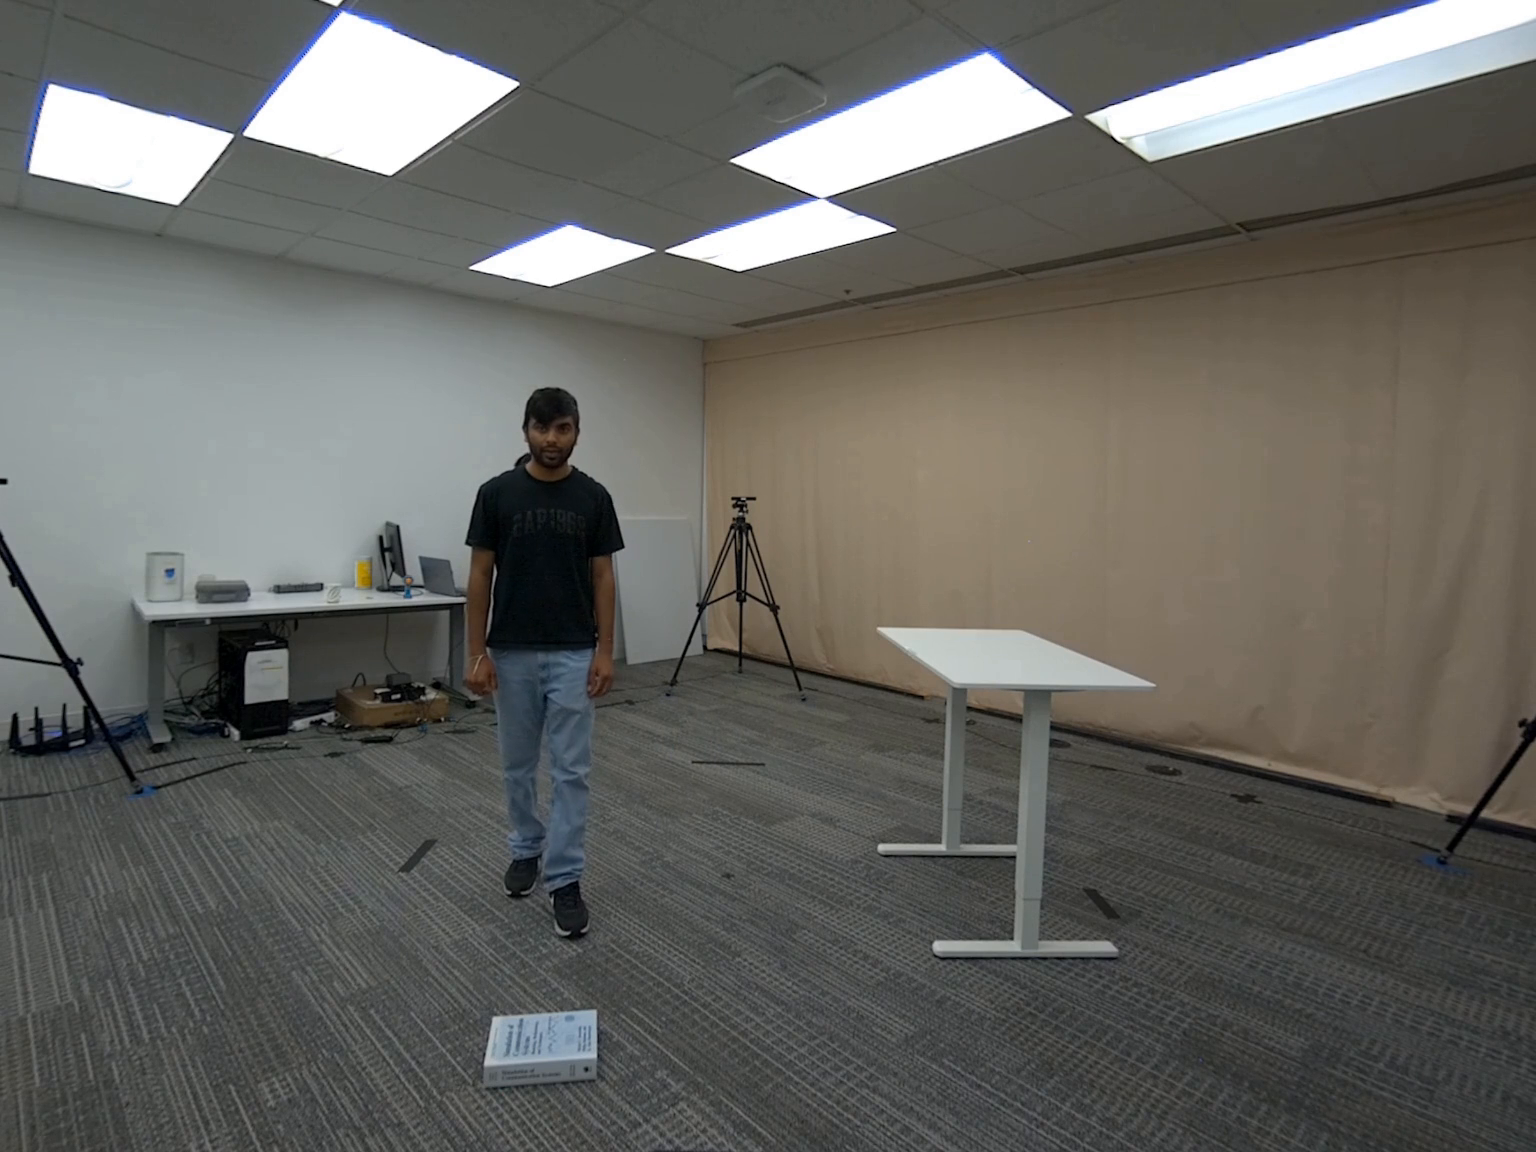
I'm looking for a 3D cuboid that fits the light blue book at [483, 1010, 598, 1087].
[{"bbox_3d":[-0.567,1.169,2.061,0.259,0.059,0.193,1,5,-11],"label":"light blue book"}]
